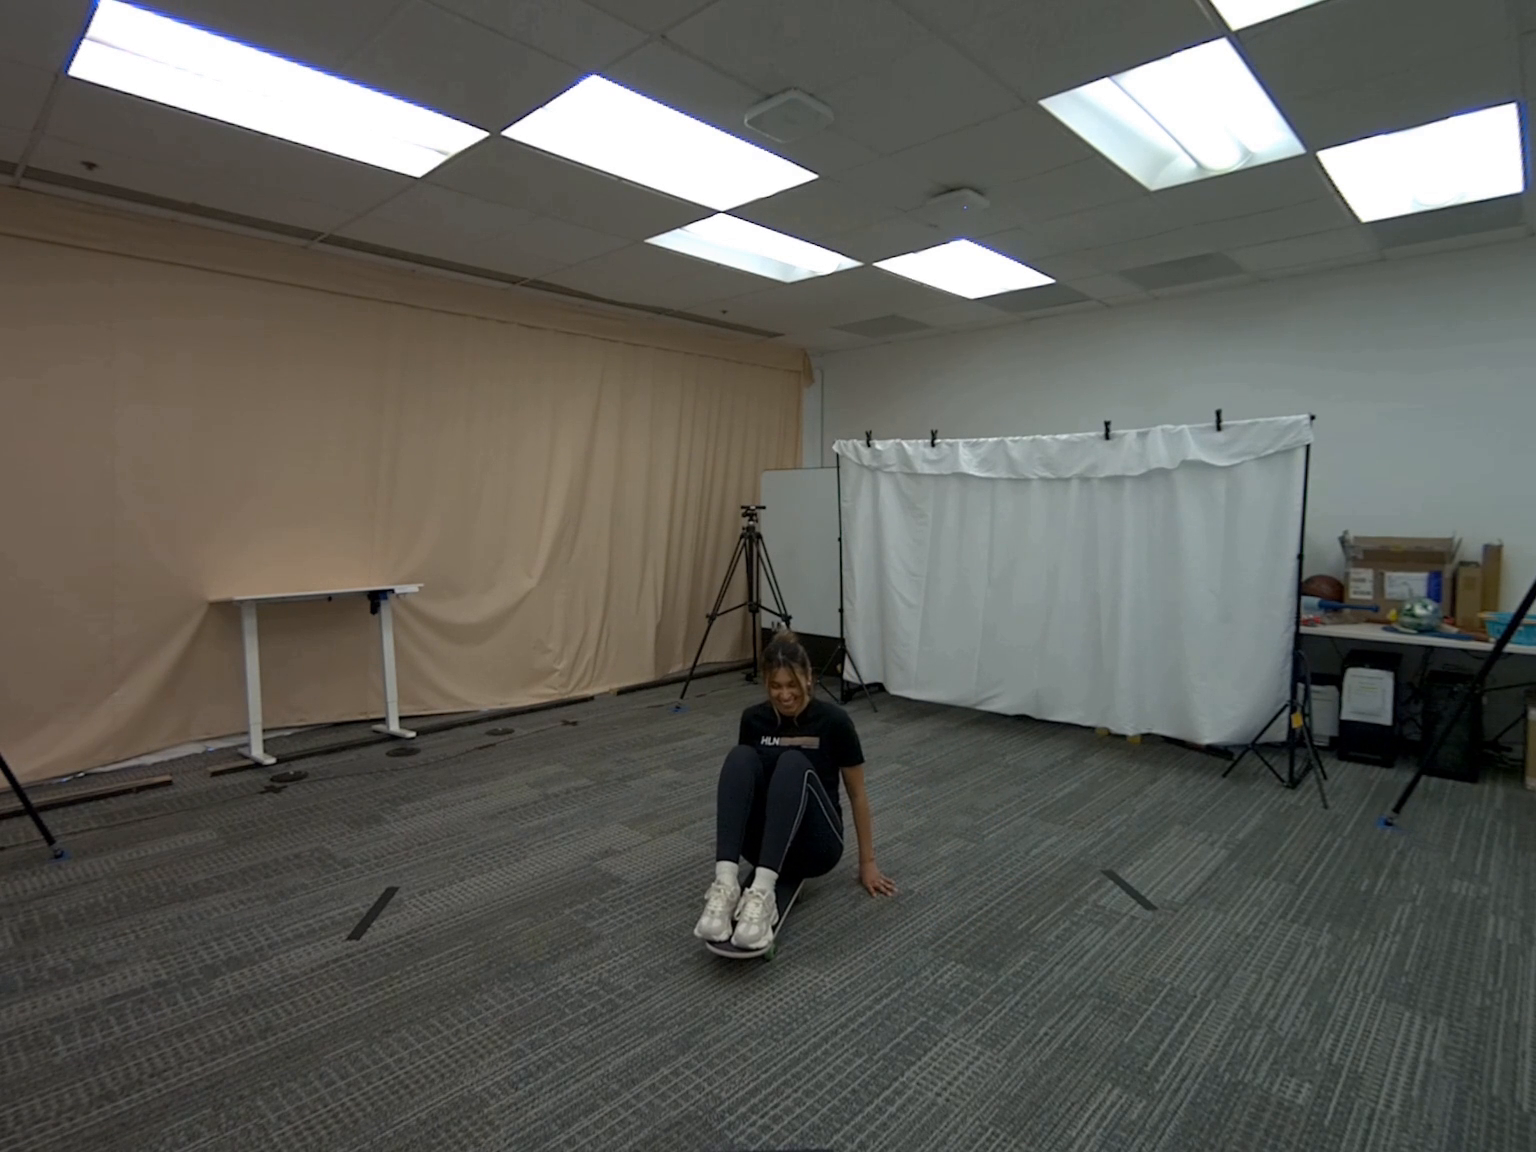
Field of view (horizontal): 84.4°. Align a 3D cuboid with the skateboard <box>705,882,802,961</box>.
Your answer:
[{"bbox_3d":[-0.012,1.112,2.792,0.197,0.110,0.771,0,2,17],"label":"skateboard"}]
